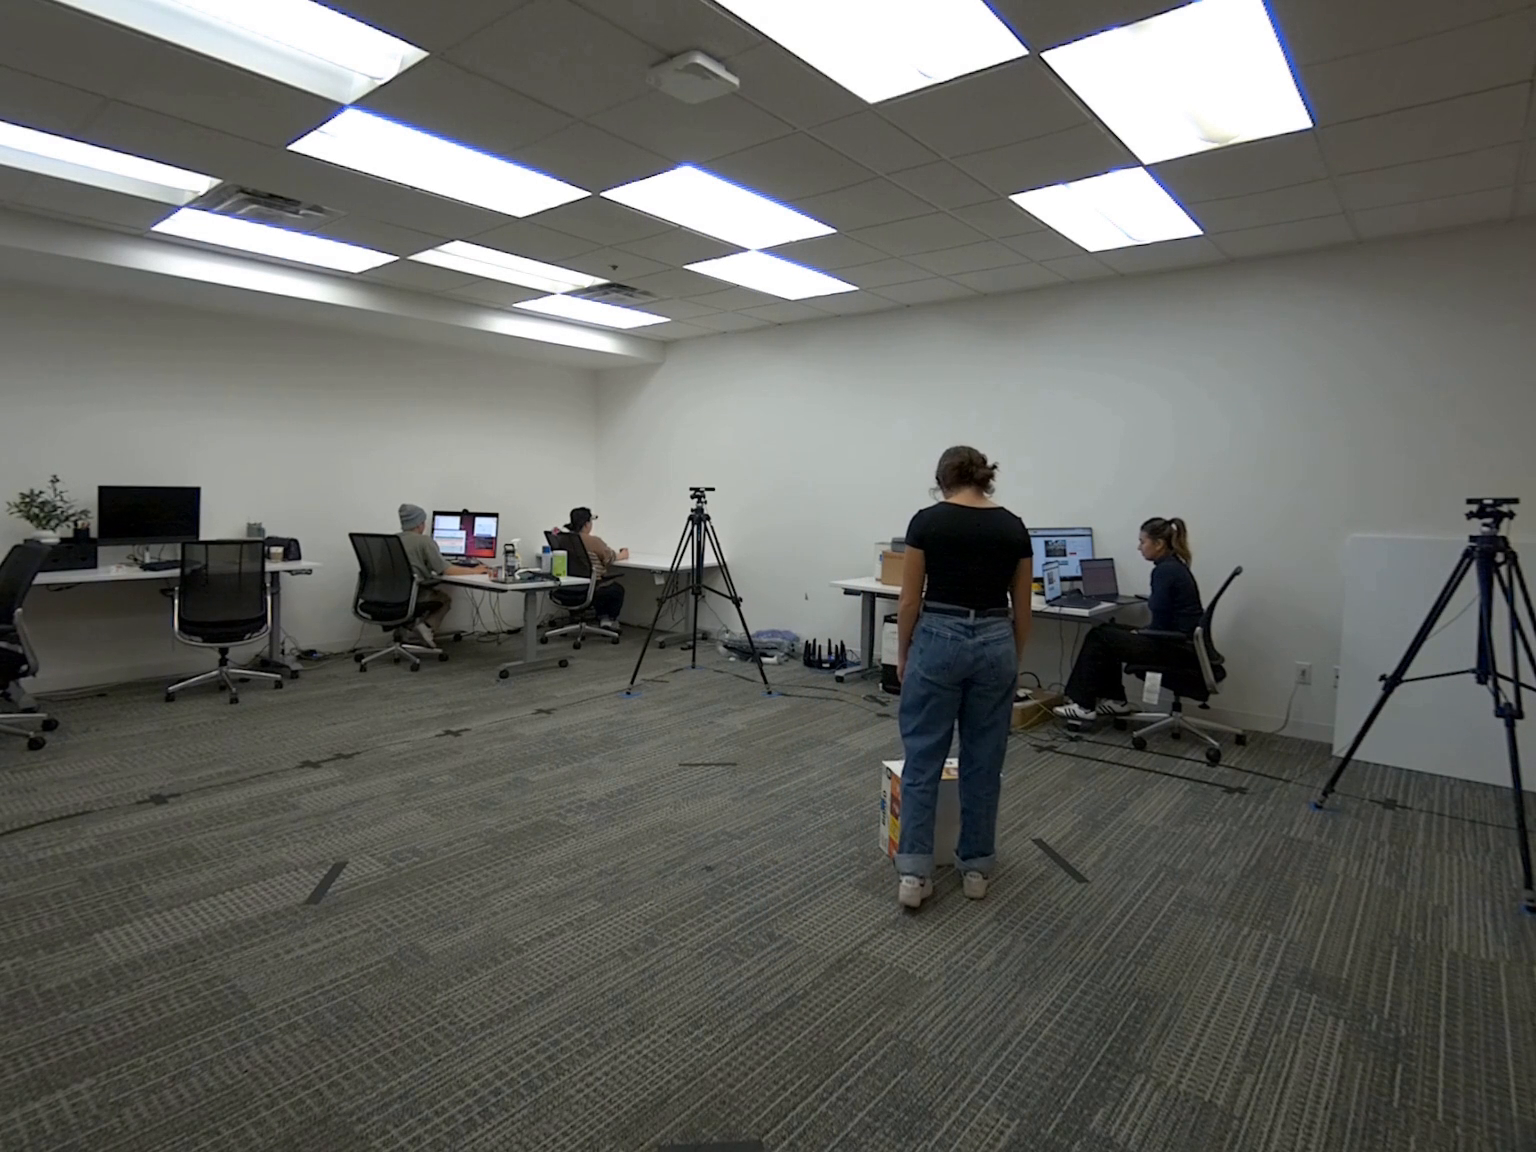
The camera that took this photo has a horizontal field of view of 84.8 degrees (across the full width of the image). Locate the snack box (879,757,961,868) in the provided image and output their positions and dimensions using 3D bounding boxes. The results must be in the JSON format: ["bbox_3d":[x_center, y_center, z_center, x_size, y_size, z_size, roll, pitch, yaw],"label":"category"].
[{"bbox_3d":[0.655,0.900,3.268,0.400,0.339,0.209,0,5,-13],"label":"snack box"}]
